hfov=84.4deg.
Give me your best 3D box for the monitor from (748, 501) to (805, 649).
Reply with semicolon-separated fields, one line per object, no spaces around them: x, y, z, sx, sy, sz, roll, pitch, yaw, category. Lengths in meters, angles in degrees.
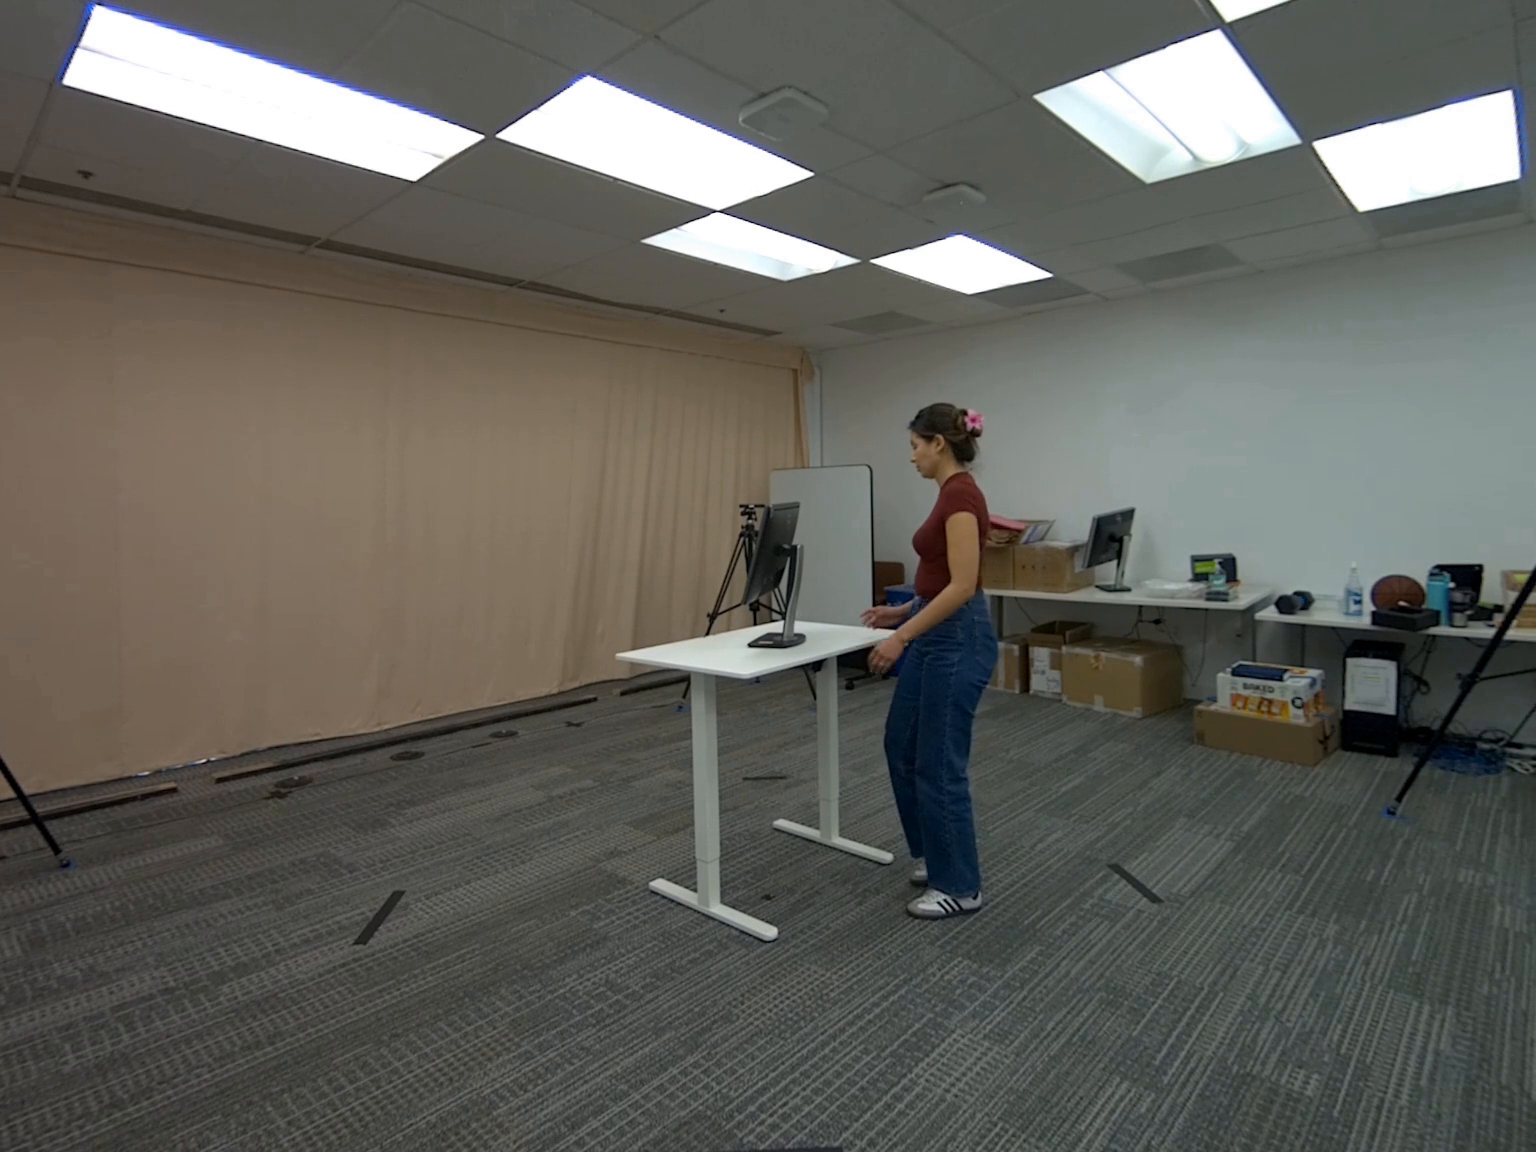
0.047;-0.006;3.105;0.190;0.521;0.533;0;5;12;monitor
